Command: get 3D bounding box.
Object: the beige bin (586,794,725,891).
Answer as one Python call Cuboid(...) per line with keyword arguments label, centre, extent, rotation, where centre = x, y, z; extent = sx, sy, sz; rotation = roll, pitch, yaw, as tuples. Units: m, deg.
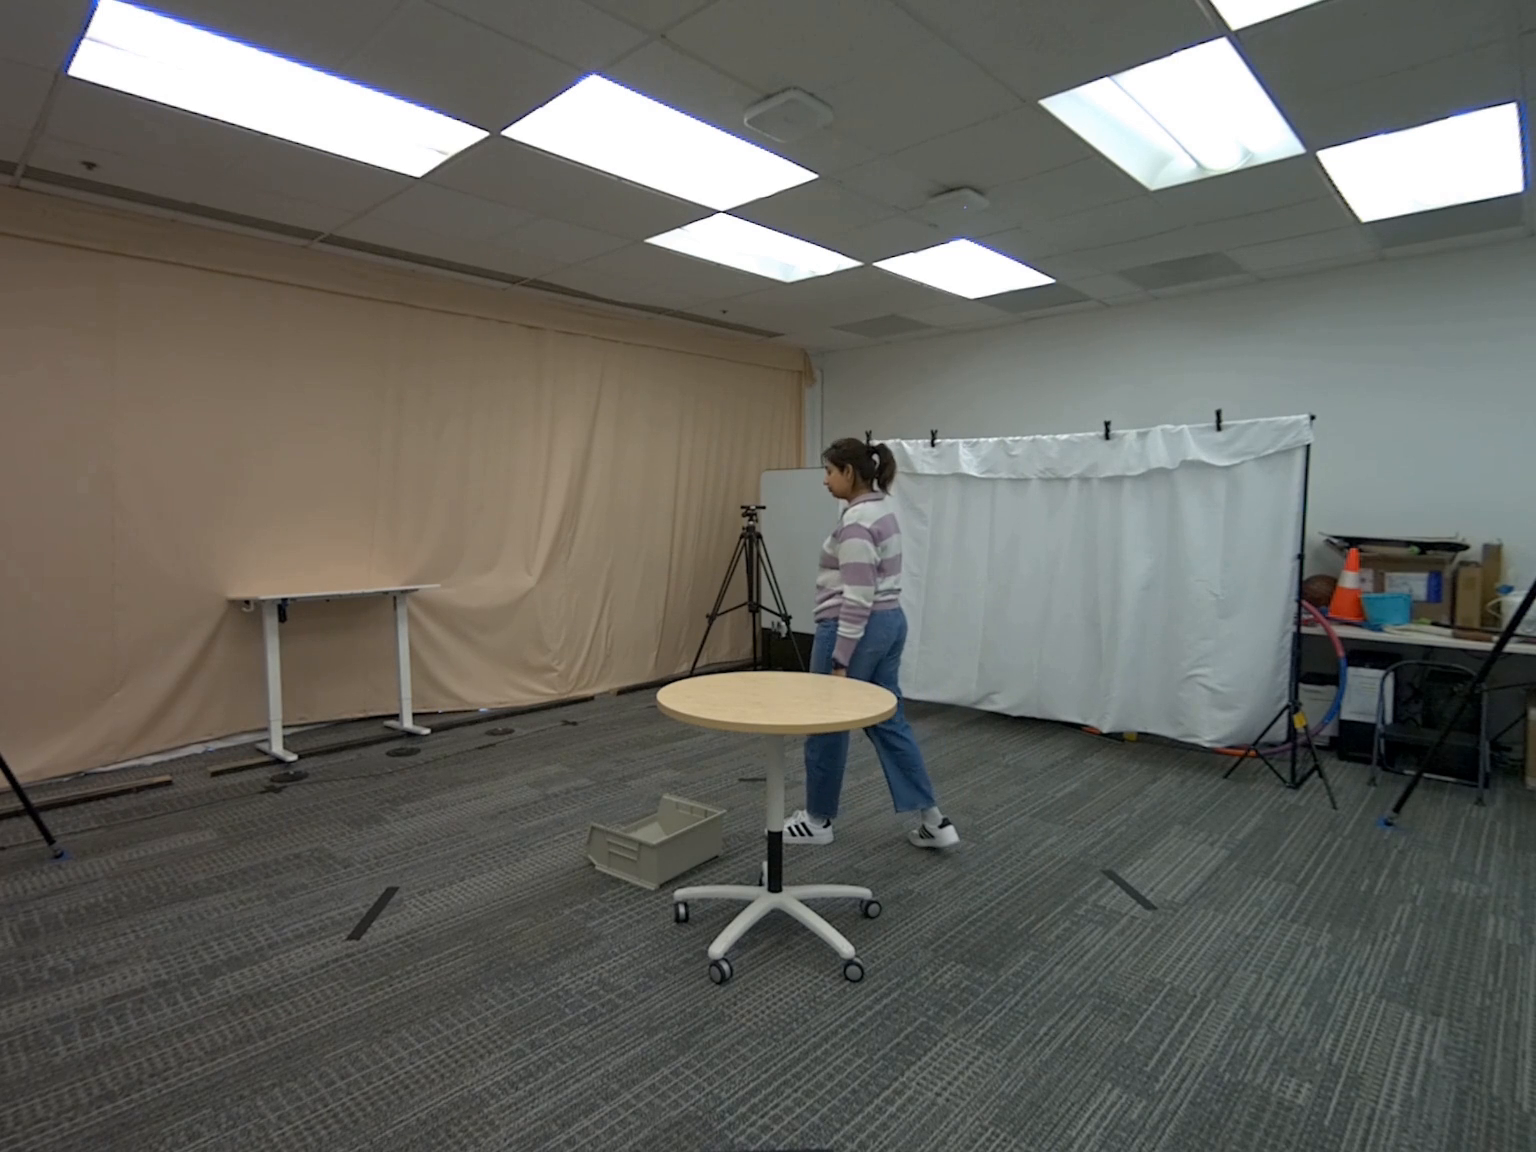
Cuboid(label="beige bin", centre=(-0.438, 1.031, 3.314), extent=(0.390, 0.188, 0.410), rotation=(4, 6, 37))
